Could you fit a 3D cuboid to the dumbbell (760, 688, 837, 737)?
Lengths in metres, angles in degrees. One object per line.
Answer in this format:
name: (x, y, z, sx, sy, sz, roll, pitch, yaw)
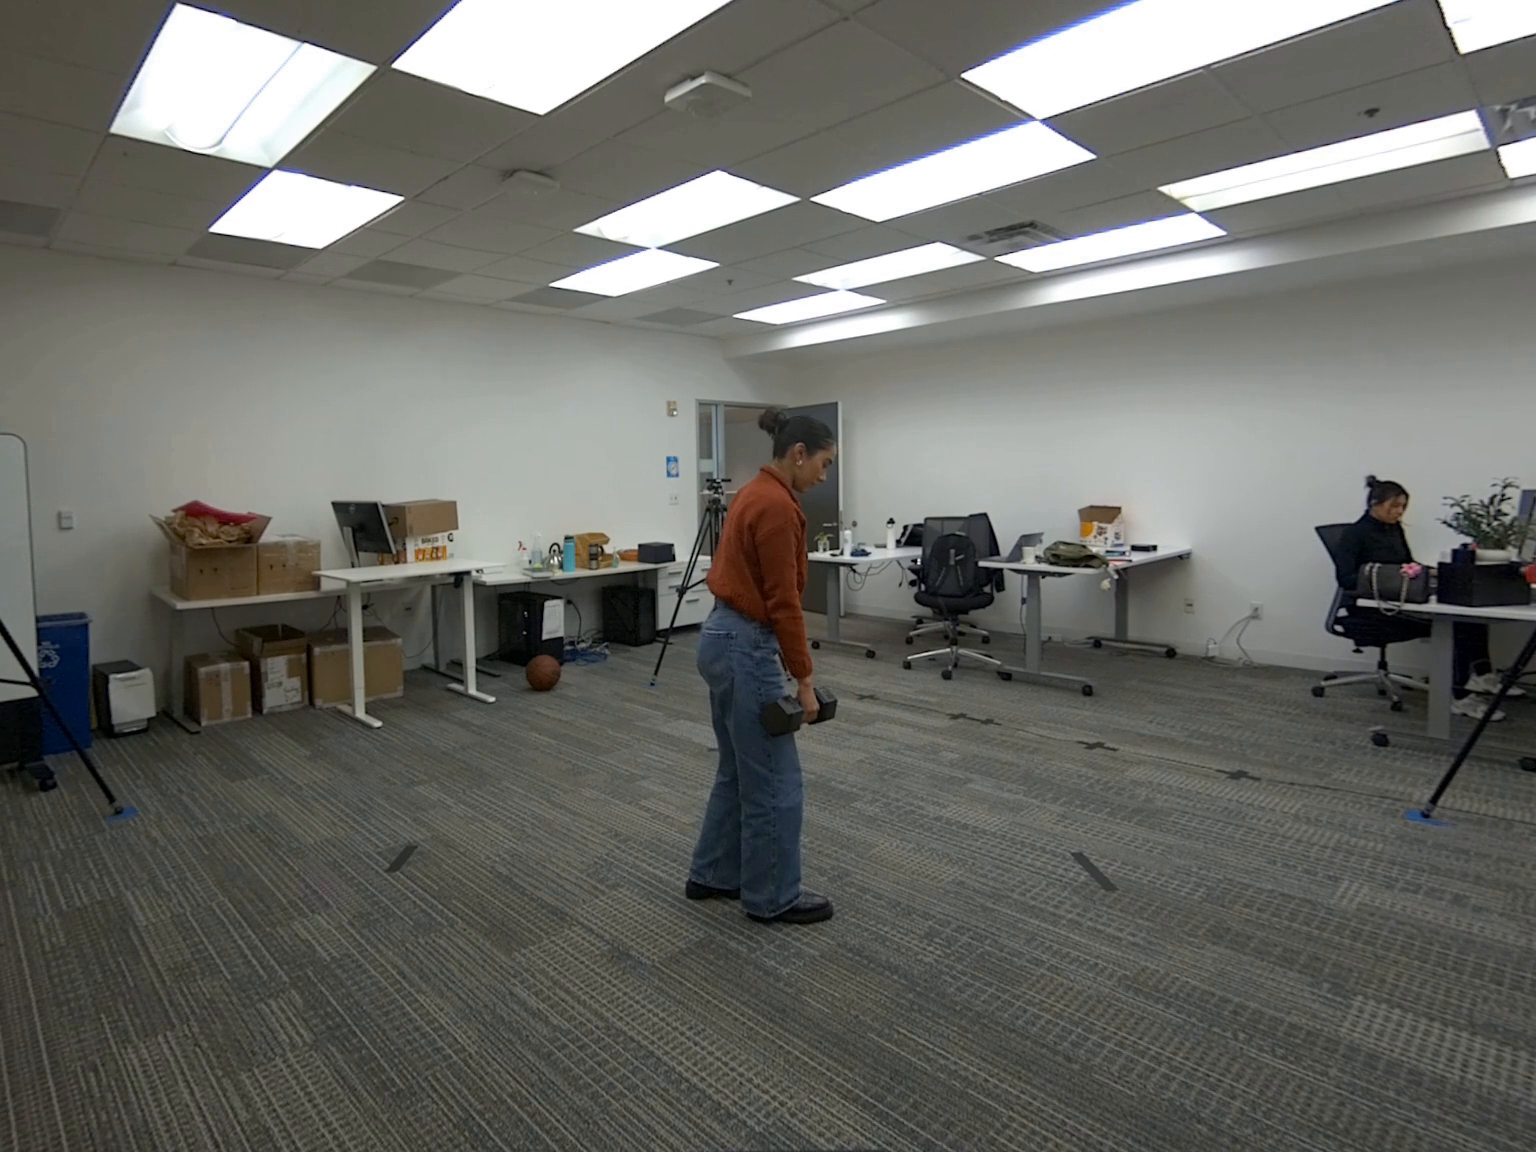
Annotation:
dumbbell: (0.094, 0.406, 2.593, 0.112, 0.122, 0.285, 14, 9, 35)
